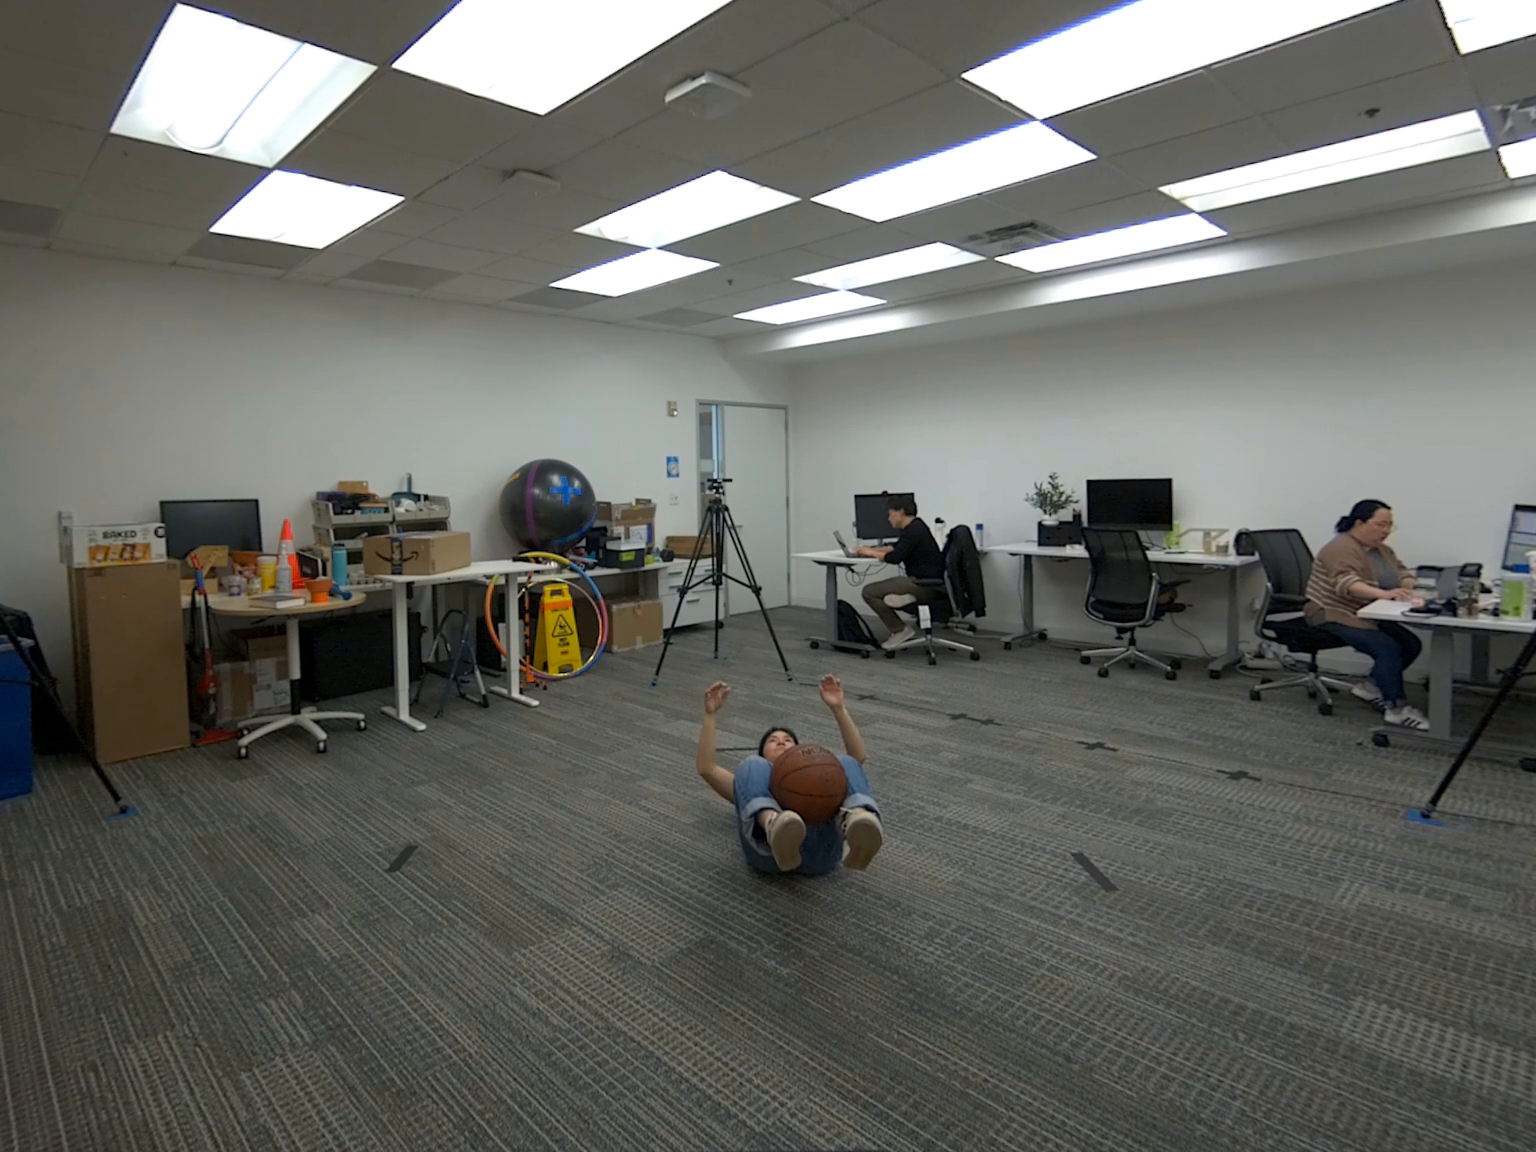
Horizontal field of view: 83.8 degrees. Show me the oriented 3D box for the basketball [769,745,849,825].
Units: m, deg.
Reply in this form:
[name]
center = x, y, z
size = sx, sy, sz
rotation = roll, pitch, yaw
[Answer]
[basketball]
center = 0.128, 0.640, 2.632
size = 0.236, 0.235, 0.237
rotation = -1, 5, -2
